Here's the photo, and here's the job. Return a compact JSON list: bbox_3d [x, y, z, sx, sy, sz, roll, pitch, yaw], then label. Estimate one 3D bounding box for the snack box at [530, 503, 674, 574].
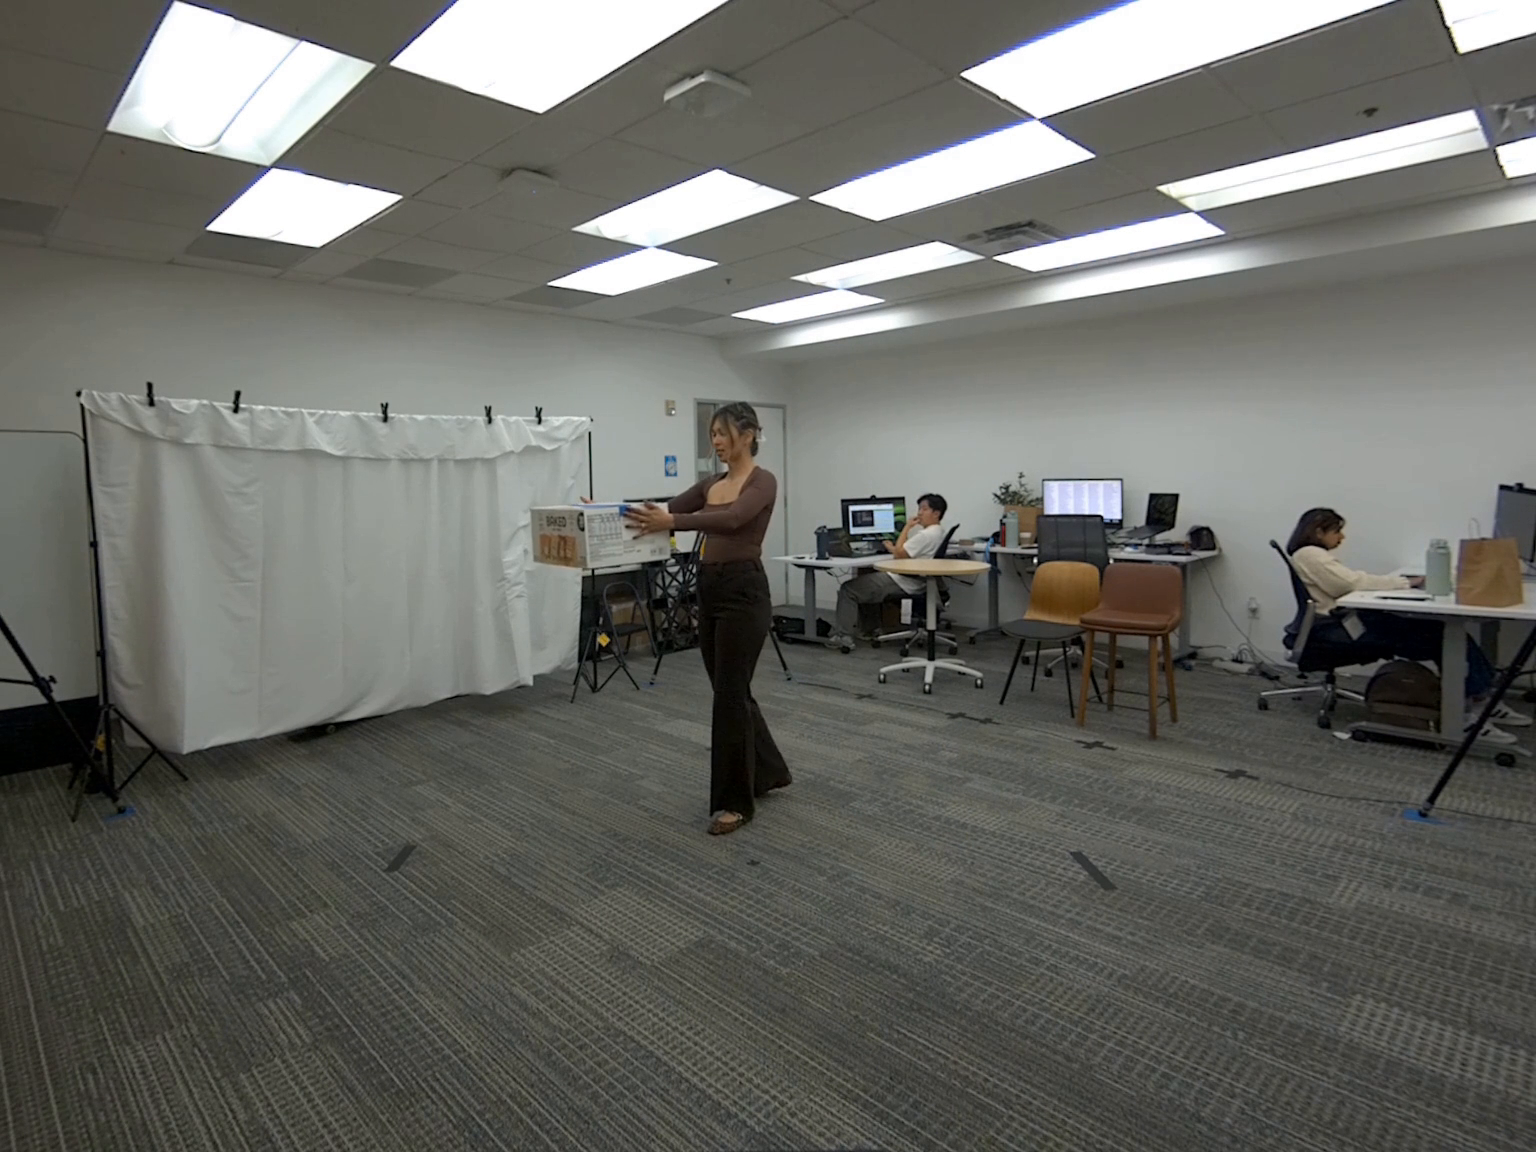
[{"bbox_3d":[-0.608,-0.153,3.101,0.332,0.204,0.418,-8,9,-40],"label":"snack box"}]
